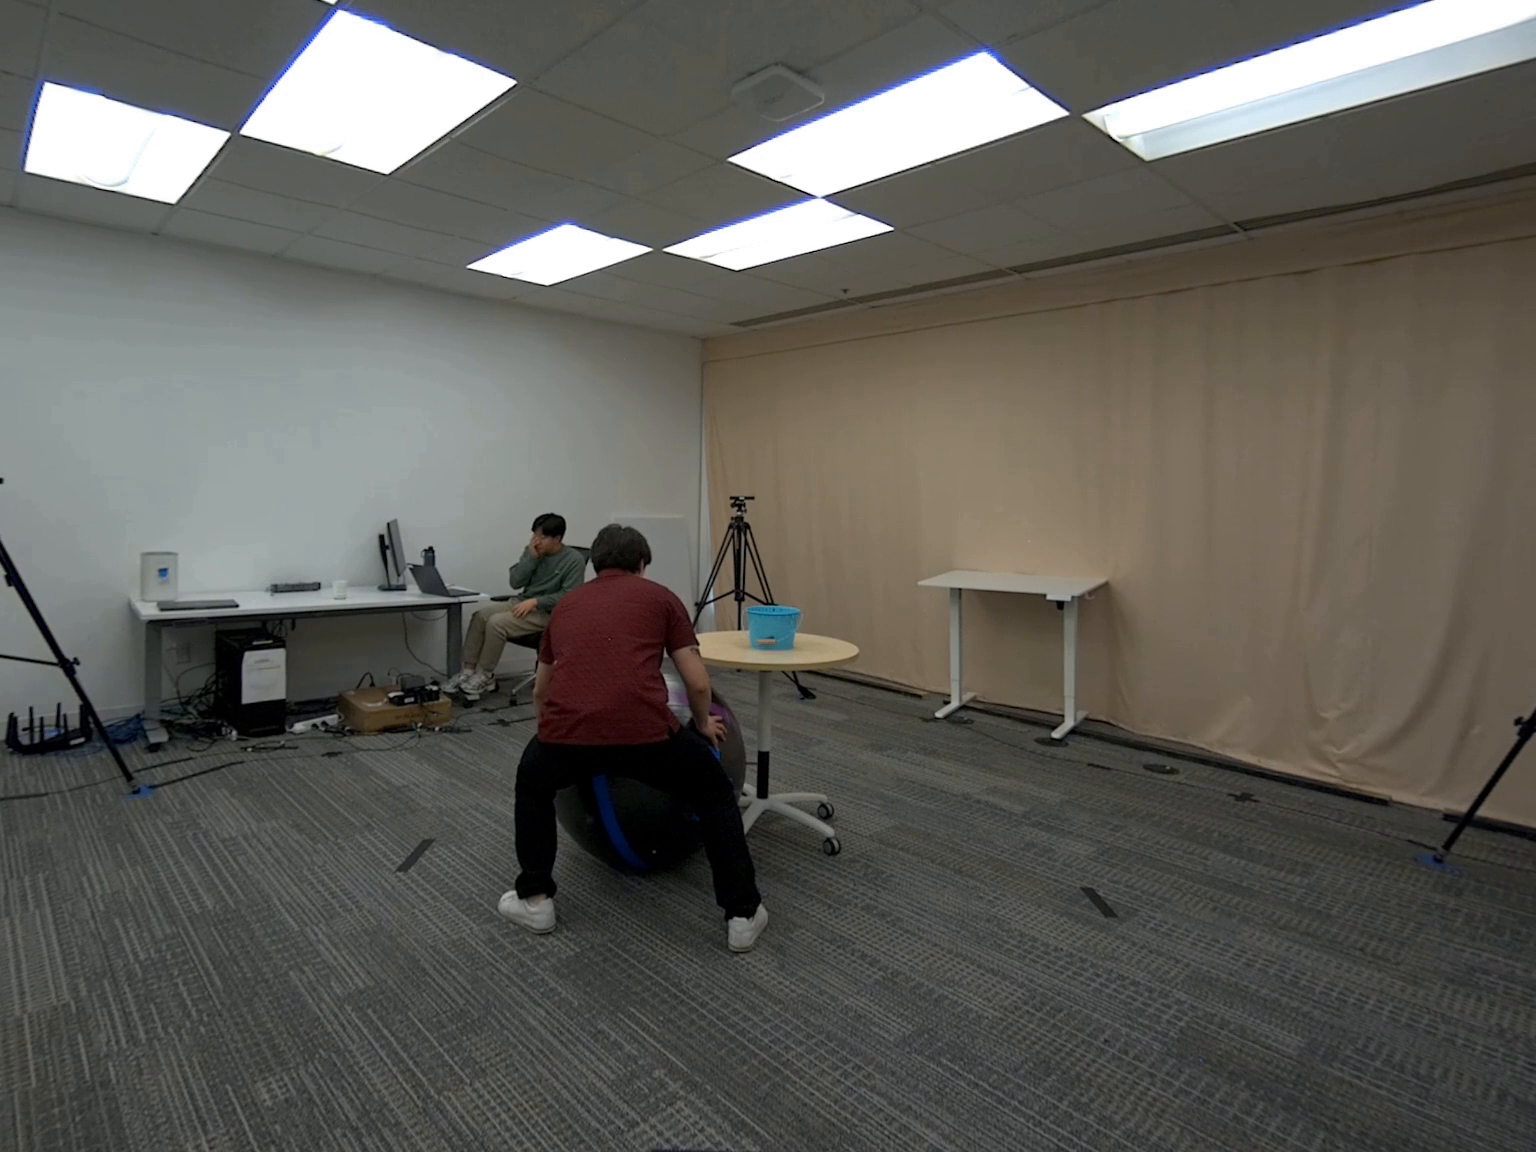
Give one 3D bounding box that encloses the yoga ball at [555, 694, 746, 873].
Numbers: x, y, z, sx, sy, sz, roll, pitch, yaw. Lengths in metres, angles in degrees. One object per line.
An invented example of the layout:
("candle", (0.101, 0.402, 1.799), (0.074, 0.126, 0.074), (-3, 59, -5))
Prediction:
("yoga ball", (-0.476, 0.726, 3.218), (0.757, 0.756, 0.761), (1, 4, -1))
